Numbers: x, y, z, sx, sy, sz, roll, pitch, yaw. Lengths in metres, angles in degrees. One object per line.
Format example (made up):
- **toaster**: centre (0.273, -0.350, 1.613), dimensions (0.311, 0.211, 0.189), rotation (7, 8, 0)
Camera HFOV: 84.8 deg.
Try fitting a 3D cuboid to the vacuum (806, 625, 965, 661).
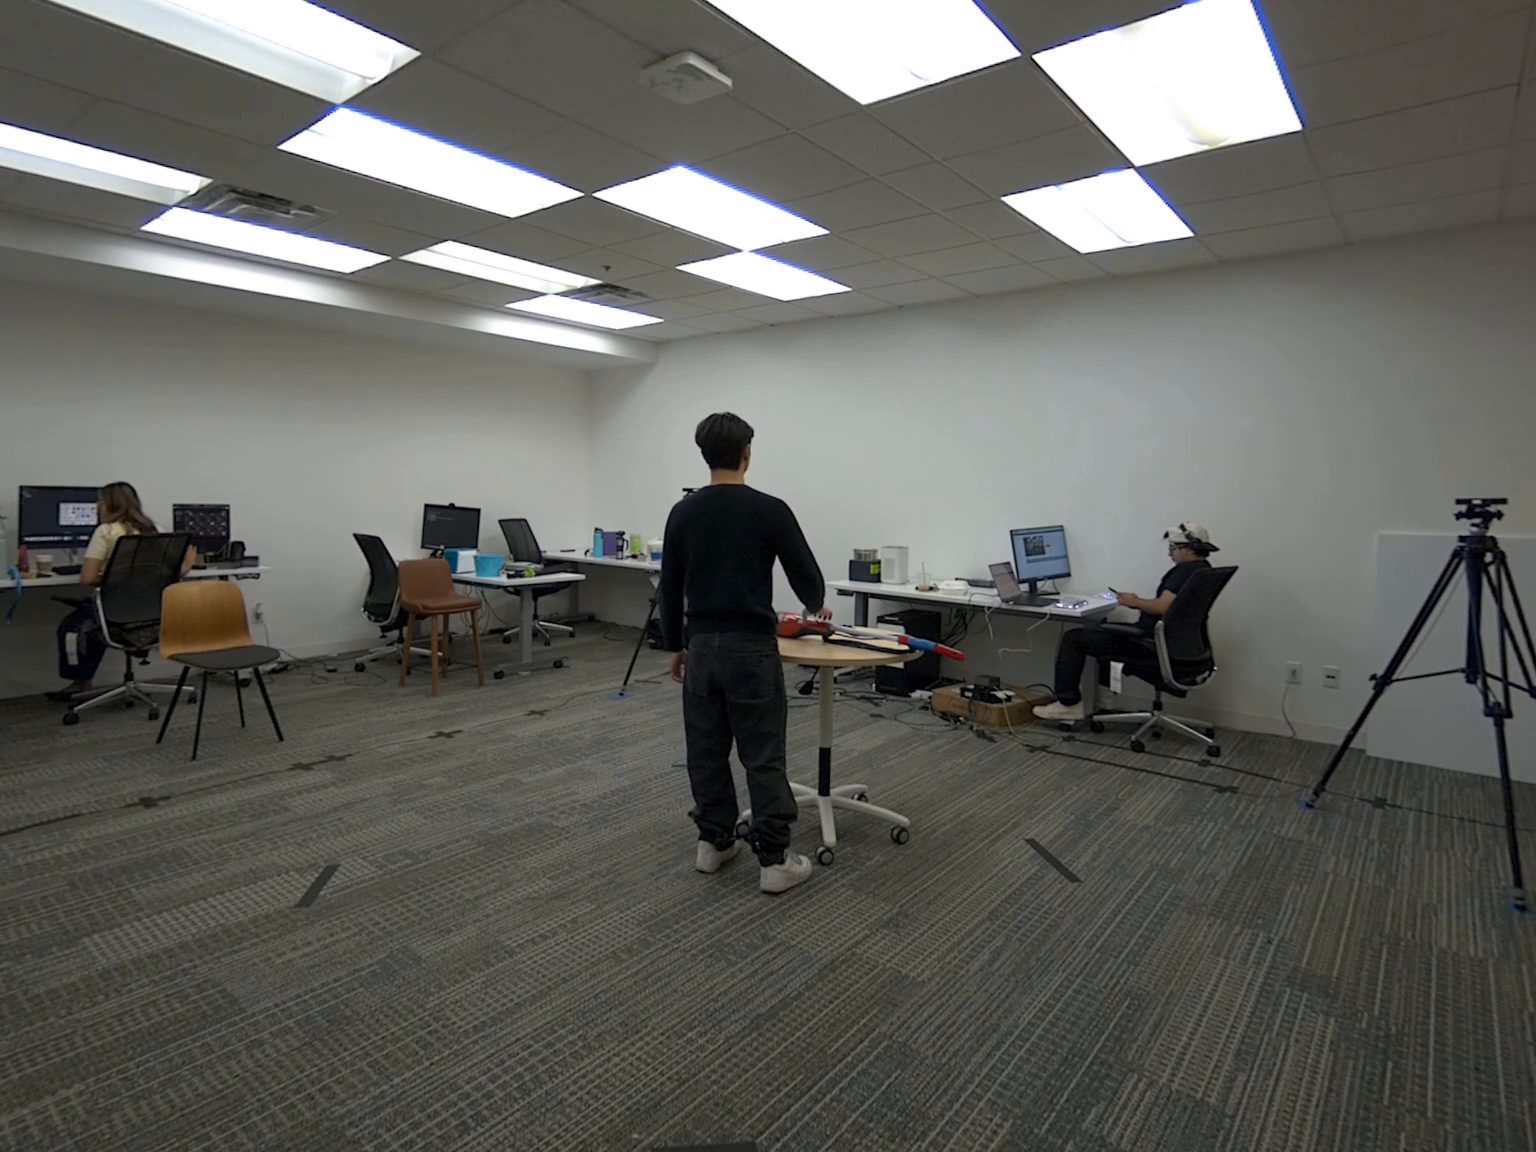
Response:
- **vacuum**: centre (0.257, 0.230, 3.384), dimensions (1.086, 0.255, 0.138), rotation (9, -25, 36)
